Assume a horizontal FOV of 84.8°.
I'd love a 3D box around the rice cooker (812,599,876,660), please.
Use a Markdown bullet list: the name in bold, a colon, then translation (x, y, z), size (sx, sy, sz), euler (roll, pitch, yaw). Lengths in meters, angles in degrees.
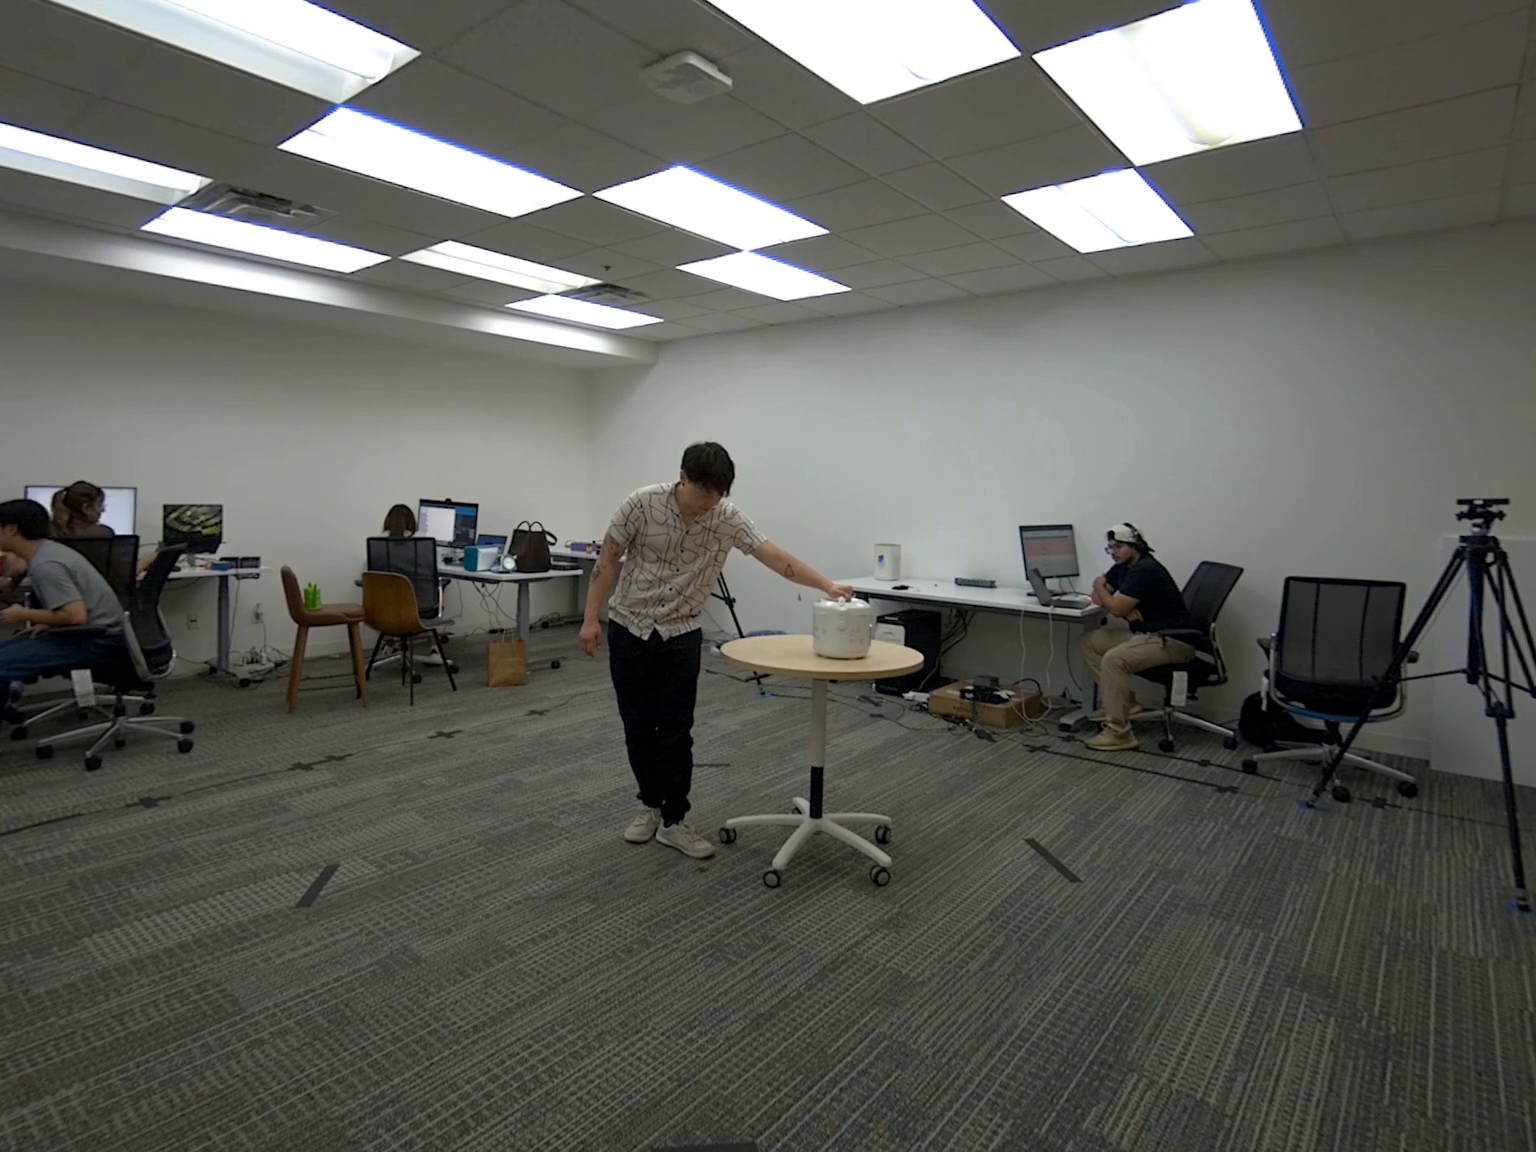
- **rice cooker**: translation (0.271, 0.177, 3.161), size (0.220, 0.232, 0.219), euler (1, 4, 8)
